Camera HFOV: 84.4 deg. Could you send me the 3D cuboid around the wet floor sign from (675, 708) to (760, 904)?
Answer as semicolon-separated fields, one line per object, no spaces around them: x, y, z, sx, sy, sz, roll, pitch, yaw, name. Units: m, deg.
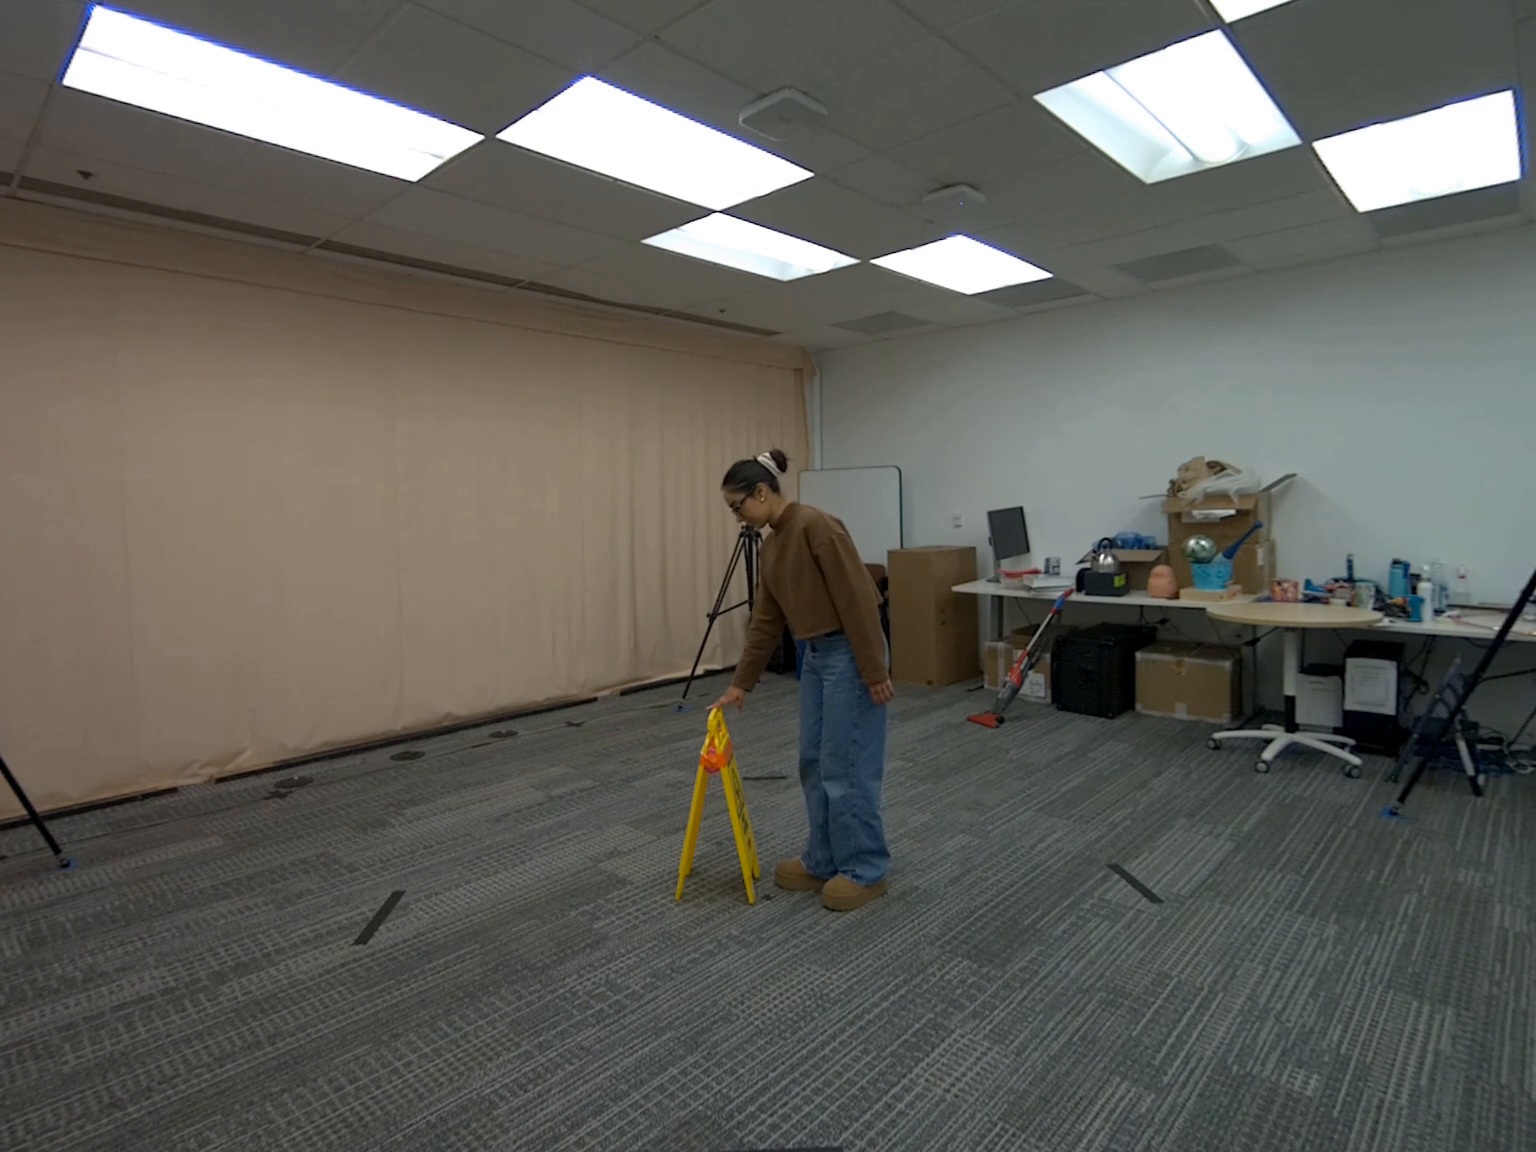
-0.184;0.824;3.062;0.292;0.645;0.281;-1;3;6;wet floor sign
